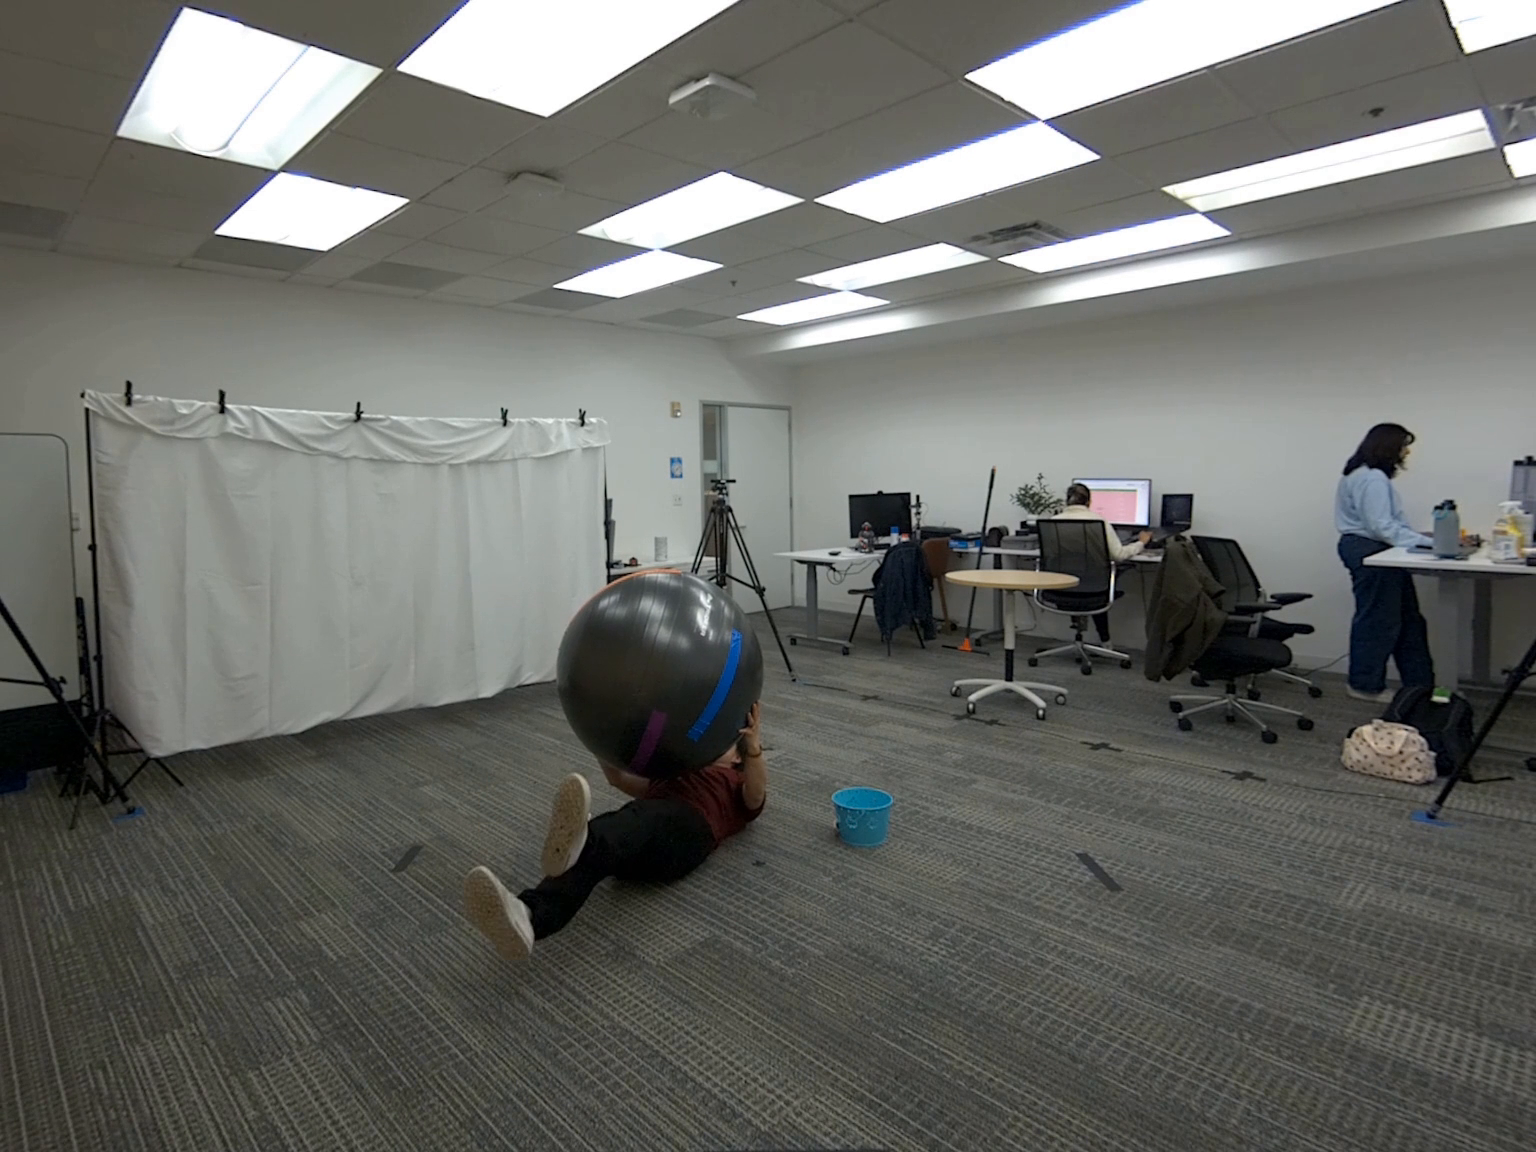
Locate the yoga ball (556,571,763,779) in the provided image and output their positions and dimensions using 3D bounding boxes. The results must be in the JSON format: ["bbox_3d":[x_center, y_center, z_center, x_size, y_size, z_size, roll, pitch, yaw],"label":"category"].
[{"bbox_3d":[-0.400,0.357,3.165,0.757,0.755,0.762,-1,5,-2],"label":"yoga ball"}]
